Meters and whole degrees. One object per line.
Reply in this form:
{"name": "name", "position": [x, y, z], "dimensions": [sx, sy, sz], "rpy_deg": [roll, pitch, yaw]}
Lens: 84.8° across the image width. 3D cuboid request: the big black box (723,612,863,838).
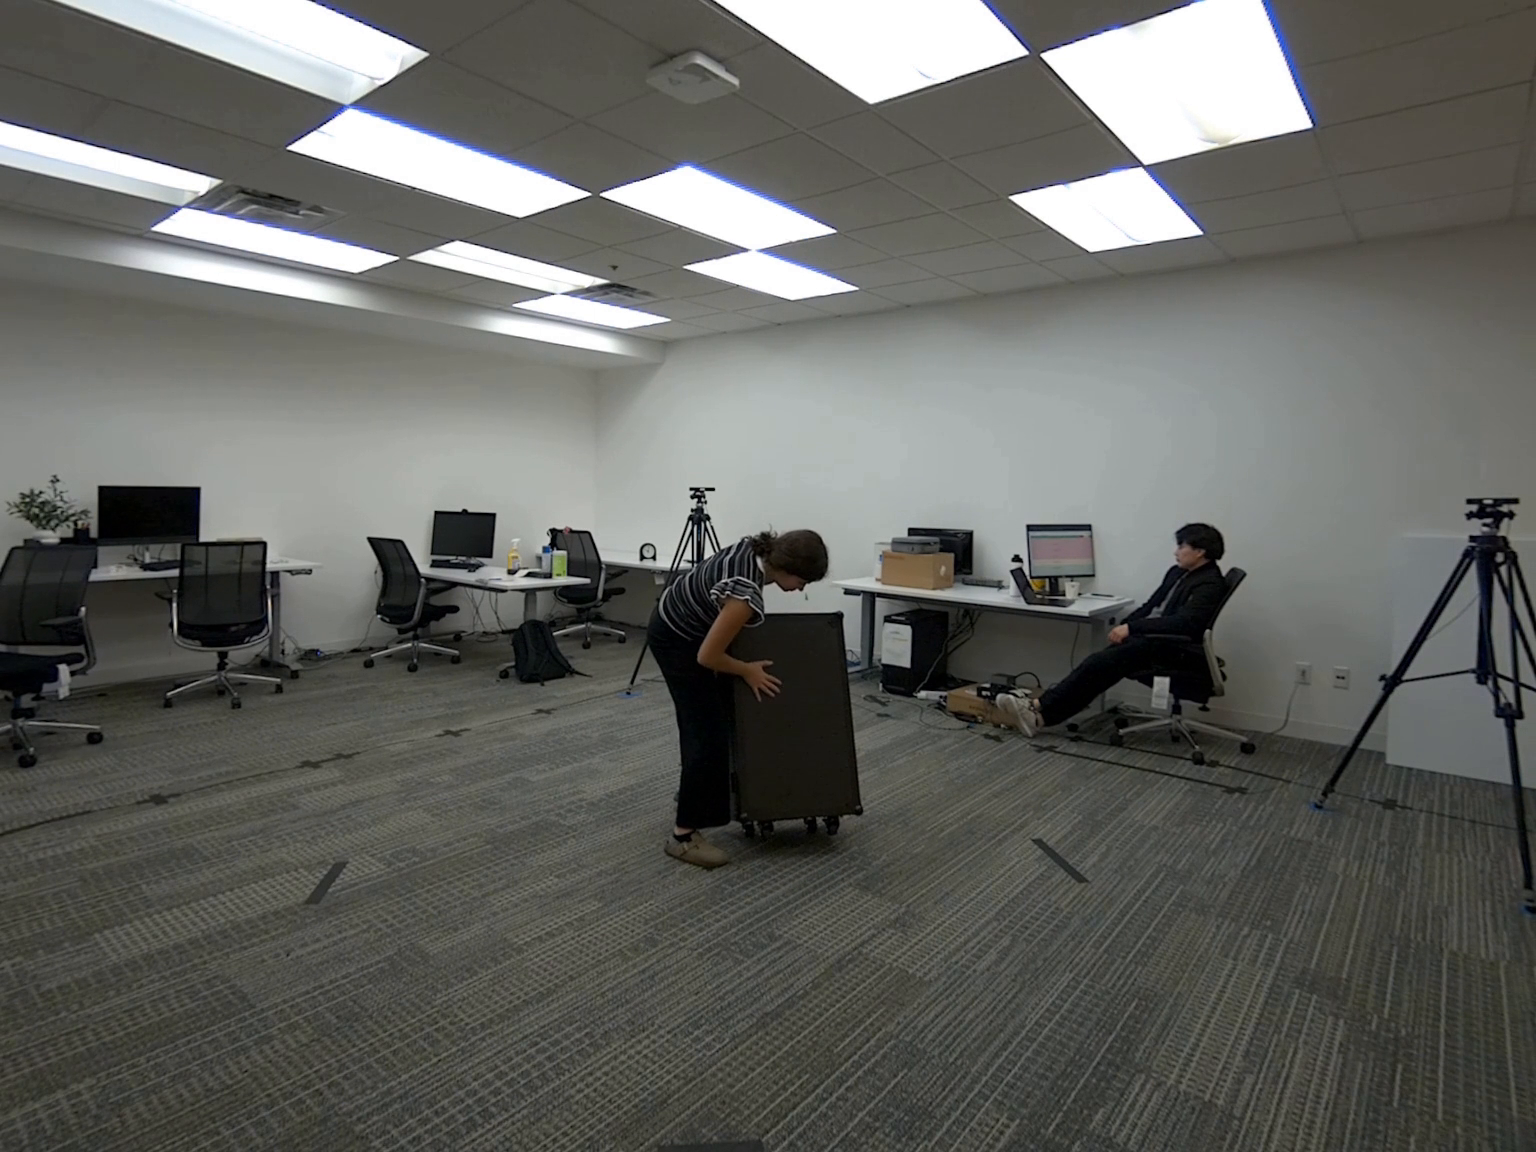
{"name": "big black box", "position": [0.052, 0.601, 3.467], "dimensions": [0.514, 0.876, 0.395], "rpy_deg": [-1, -16, -13]}
